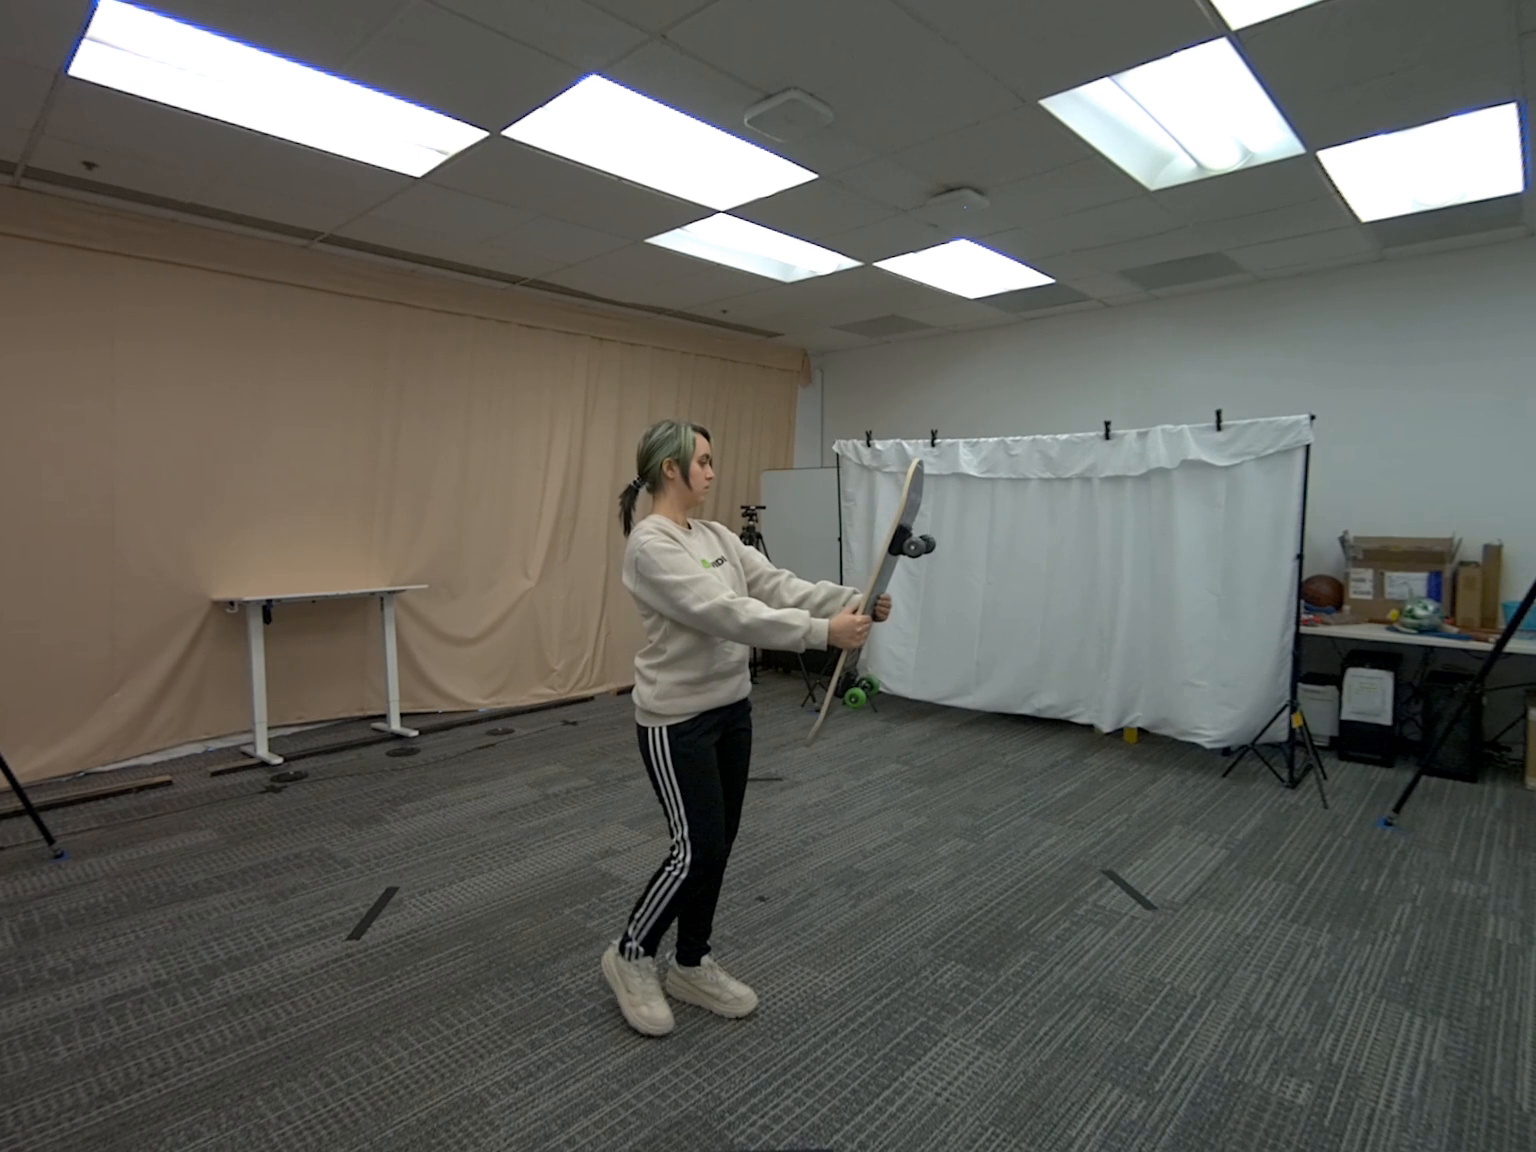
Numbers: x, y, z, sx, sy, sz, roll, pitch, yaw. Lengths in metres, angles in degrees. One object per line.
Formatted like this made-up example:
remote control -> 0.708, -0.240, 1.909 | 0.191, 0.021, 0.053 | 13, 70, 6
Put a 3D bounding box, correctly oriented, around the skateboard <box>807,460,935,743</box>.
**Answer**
skateboard -> 0.286, 0.101, 2.090 | 0.113, 0.784, 0.189 | 24, 9, 19
